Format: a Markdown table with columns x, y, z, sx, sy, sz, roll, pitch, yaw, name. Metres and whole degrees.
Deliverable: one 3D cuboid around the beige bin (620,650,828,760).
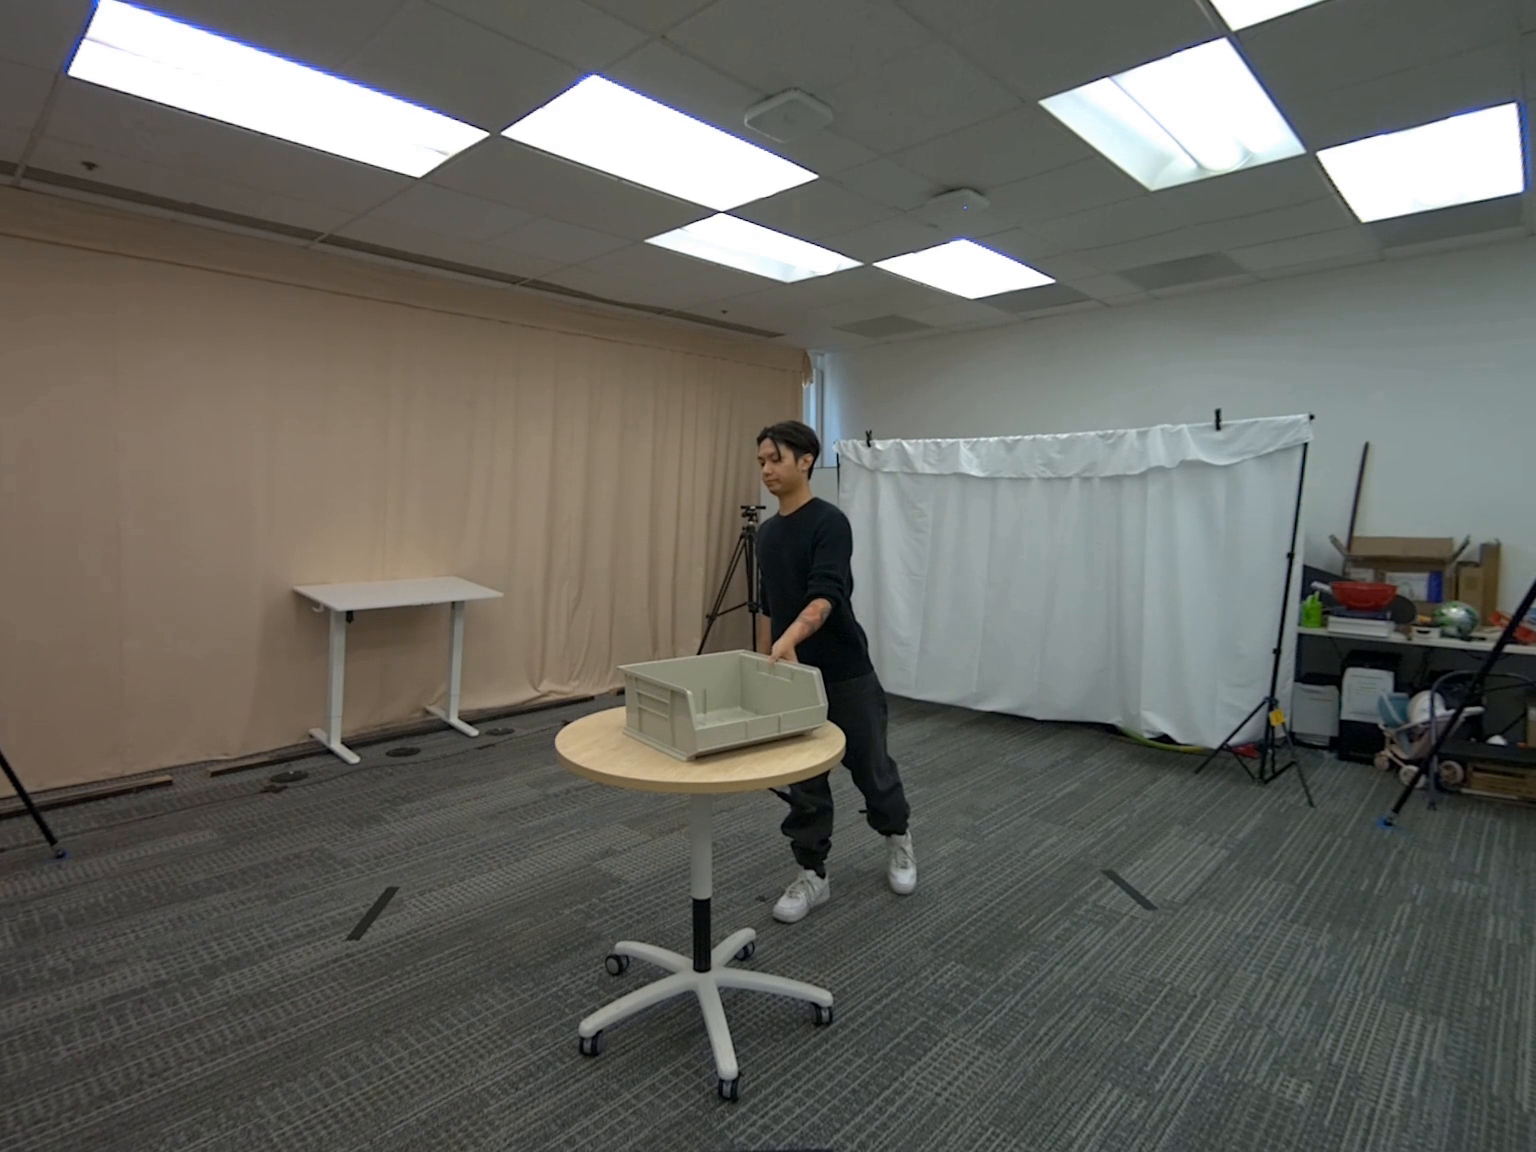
| x | y | z | sx | sy | sz | roll | pitch | yaw | name |
| --- | --- | --- | --- | --- | --- | --- | --- | --- | --- |
| -0.122 | 0.334 | 2.222 | 0.410 | 0.188 | 0.389 | -5 | 6 | -38 | beige bin |
